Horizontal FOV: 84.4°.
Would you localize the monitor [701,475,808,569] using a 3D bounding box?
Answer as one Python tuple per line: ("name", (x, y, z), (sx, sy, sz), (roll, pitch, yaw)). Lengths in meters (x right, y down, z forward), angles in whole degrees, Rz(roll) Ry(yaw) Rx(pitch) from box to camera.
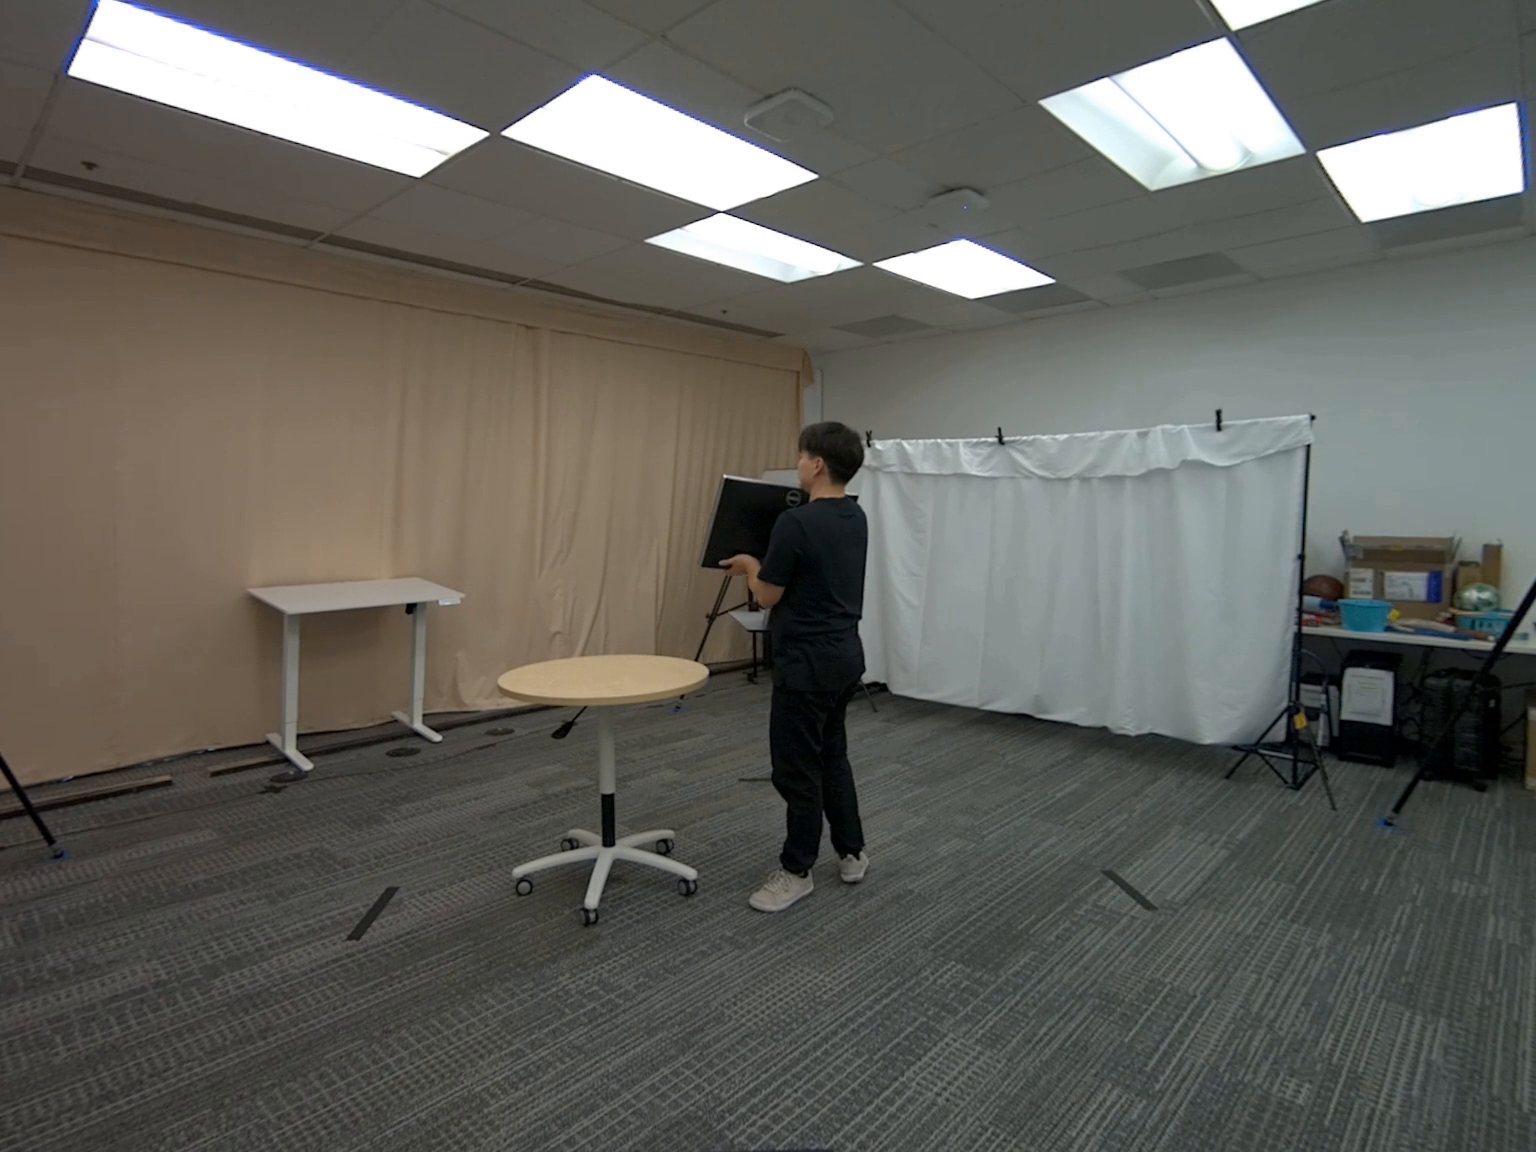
("monitor", (0.039, -0.075, 3.132), (0.525, 0.520, 0.193), (5, 13, -26))
